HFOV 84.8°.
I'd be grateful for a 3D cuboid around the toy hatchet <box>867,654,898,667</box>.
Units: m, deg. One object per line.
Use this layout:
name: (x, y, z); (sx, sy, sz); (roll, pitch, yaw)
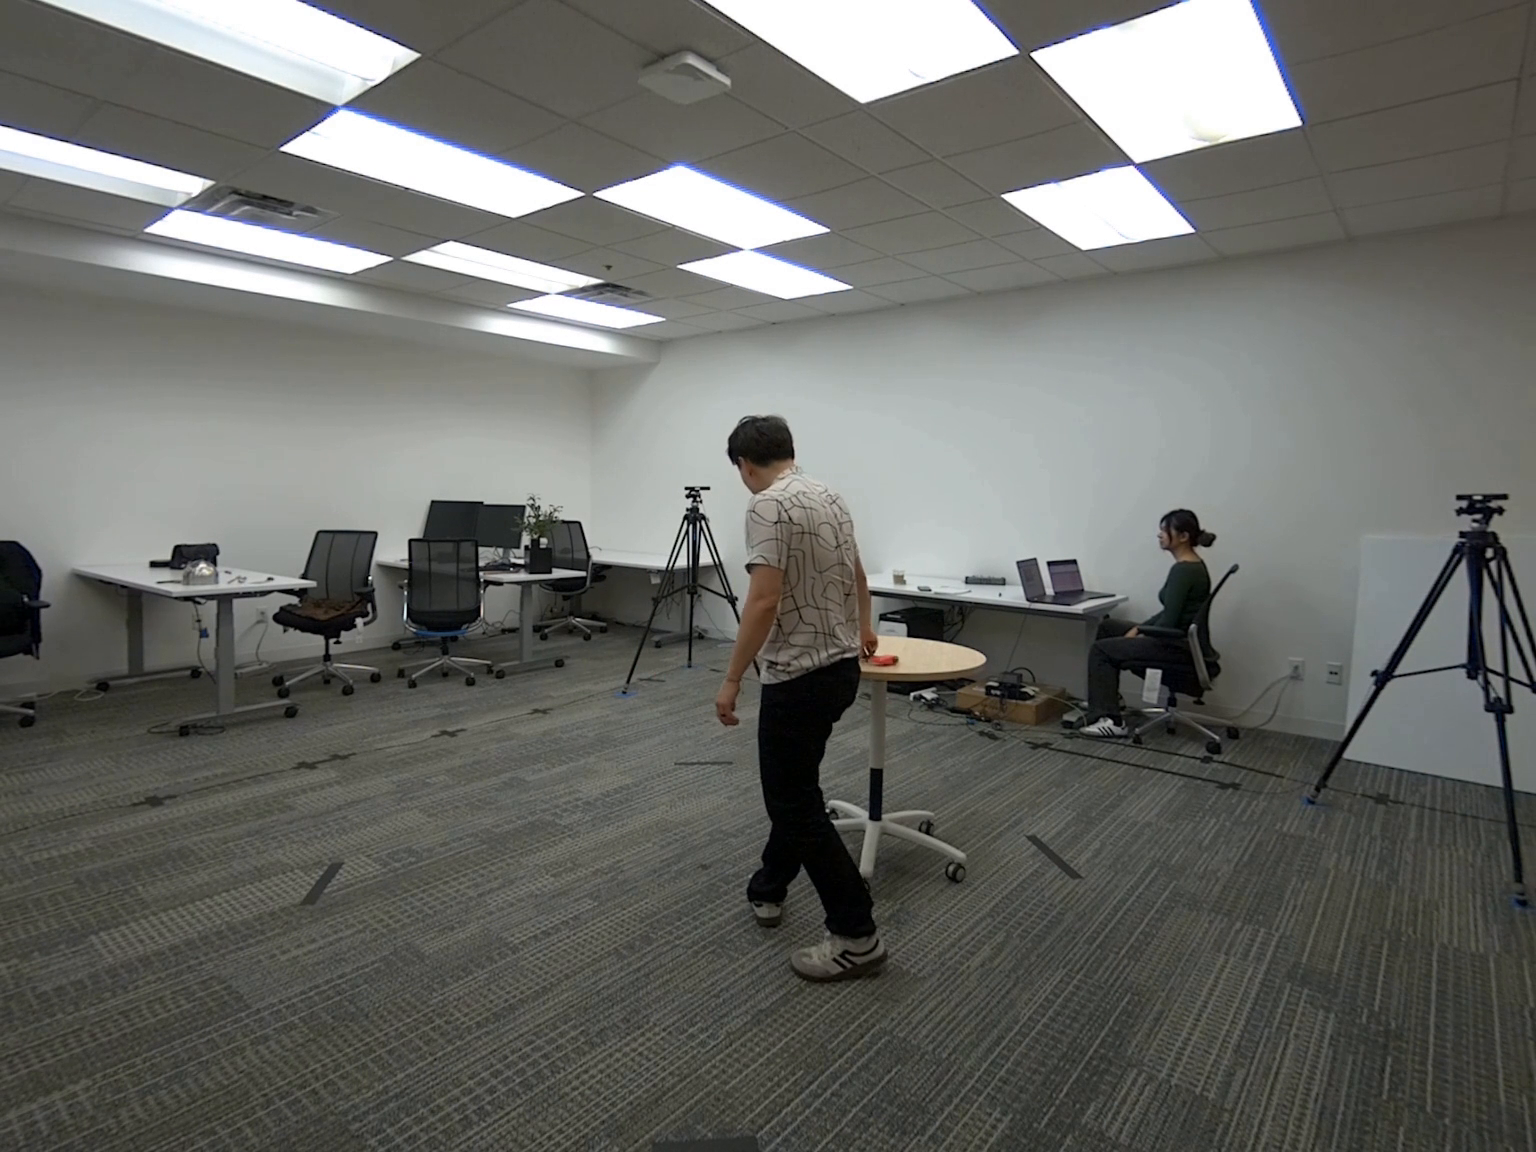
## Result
toy hatchet: (0.325, 0.288, 3.020); (0.275, 0.029, 0.128); (2, 1, 19)
